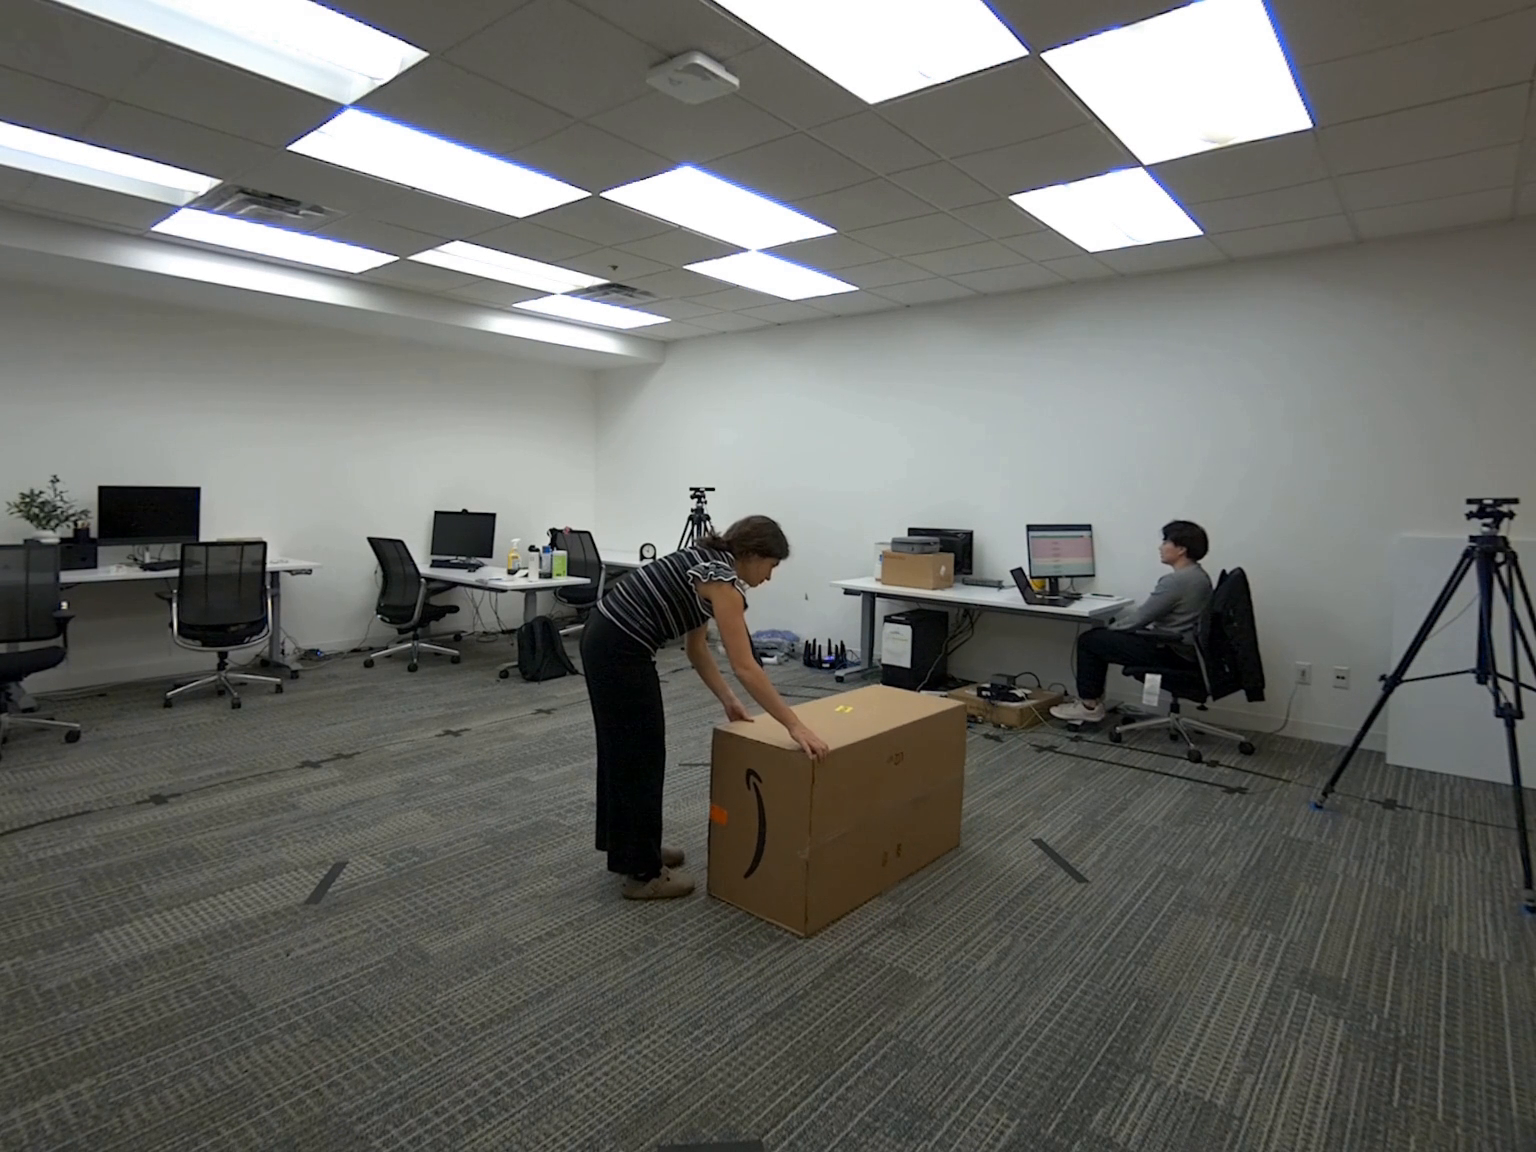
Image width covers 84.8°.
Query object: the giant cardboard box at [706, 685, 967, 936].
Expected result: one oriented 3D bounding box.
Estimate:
[{"bbox_3d":[0.280,0.786,3.128,0.441,0.575,0.995,5,6,41],"label":"giant cardboard box"}]
